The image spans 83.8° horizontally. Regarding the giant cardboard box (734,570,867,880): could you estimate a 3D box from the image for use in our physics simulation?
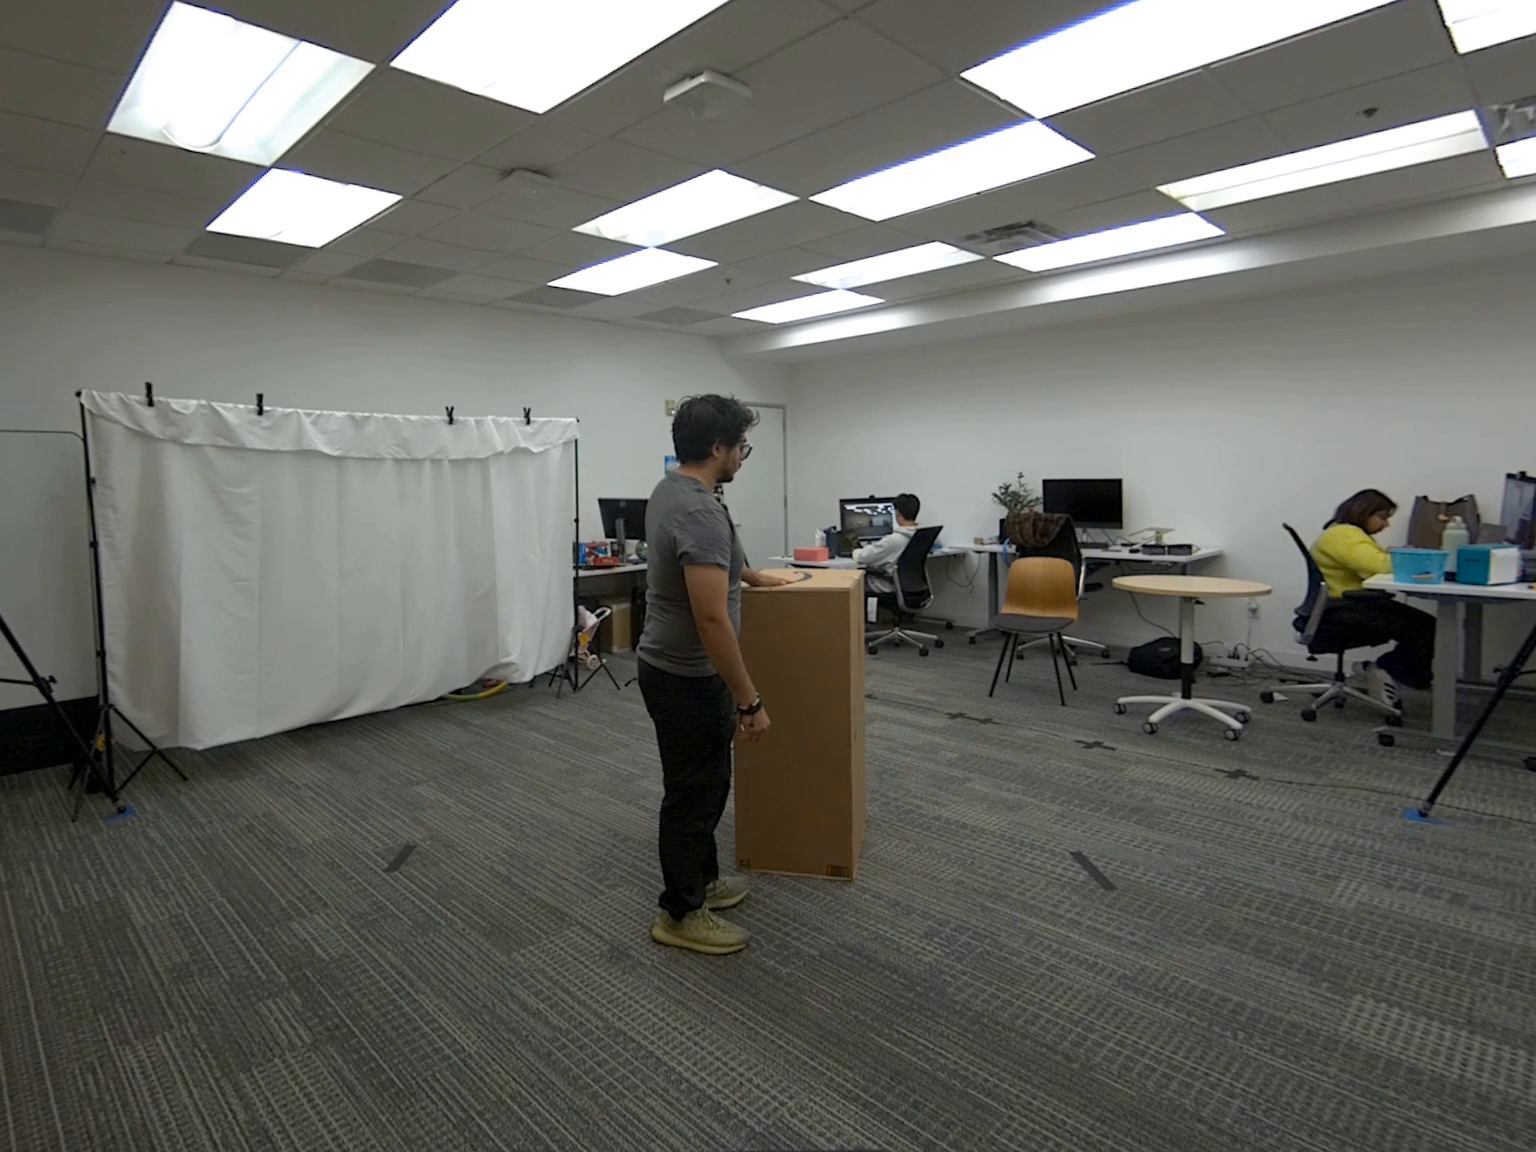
[{"bbox_3d":[0.134,0.513,3.238,0.432,1.022,0.572,0,5,13],"label":"giant cardboard box"}]
